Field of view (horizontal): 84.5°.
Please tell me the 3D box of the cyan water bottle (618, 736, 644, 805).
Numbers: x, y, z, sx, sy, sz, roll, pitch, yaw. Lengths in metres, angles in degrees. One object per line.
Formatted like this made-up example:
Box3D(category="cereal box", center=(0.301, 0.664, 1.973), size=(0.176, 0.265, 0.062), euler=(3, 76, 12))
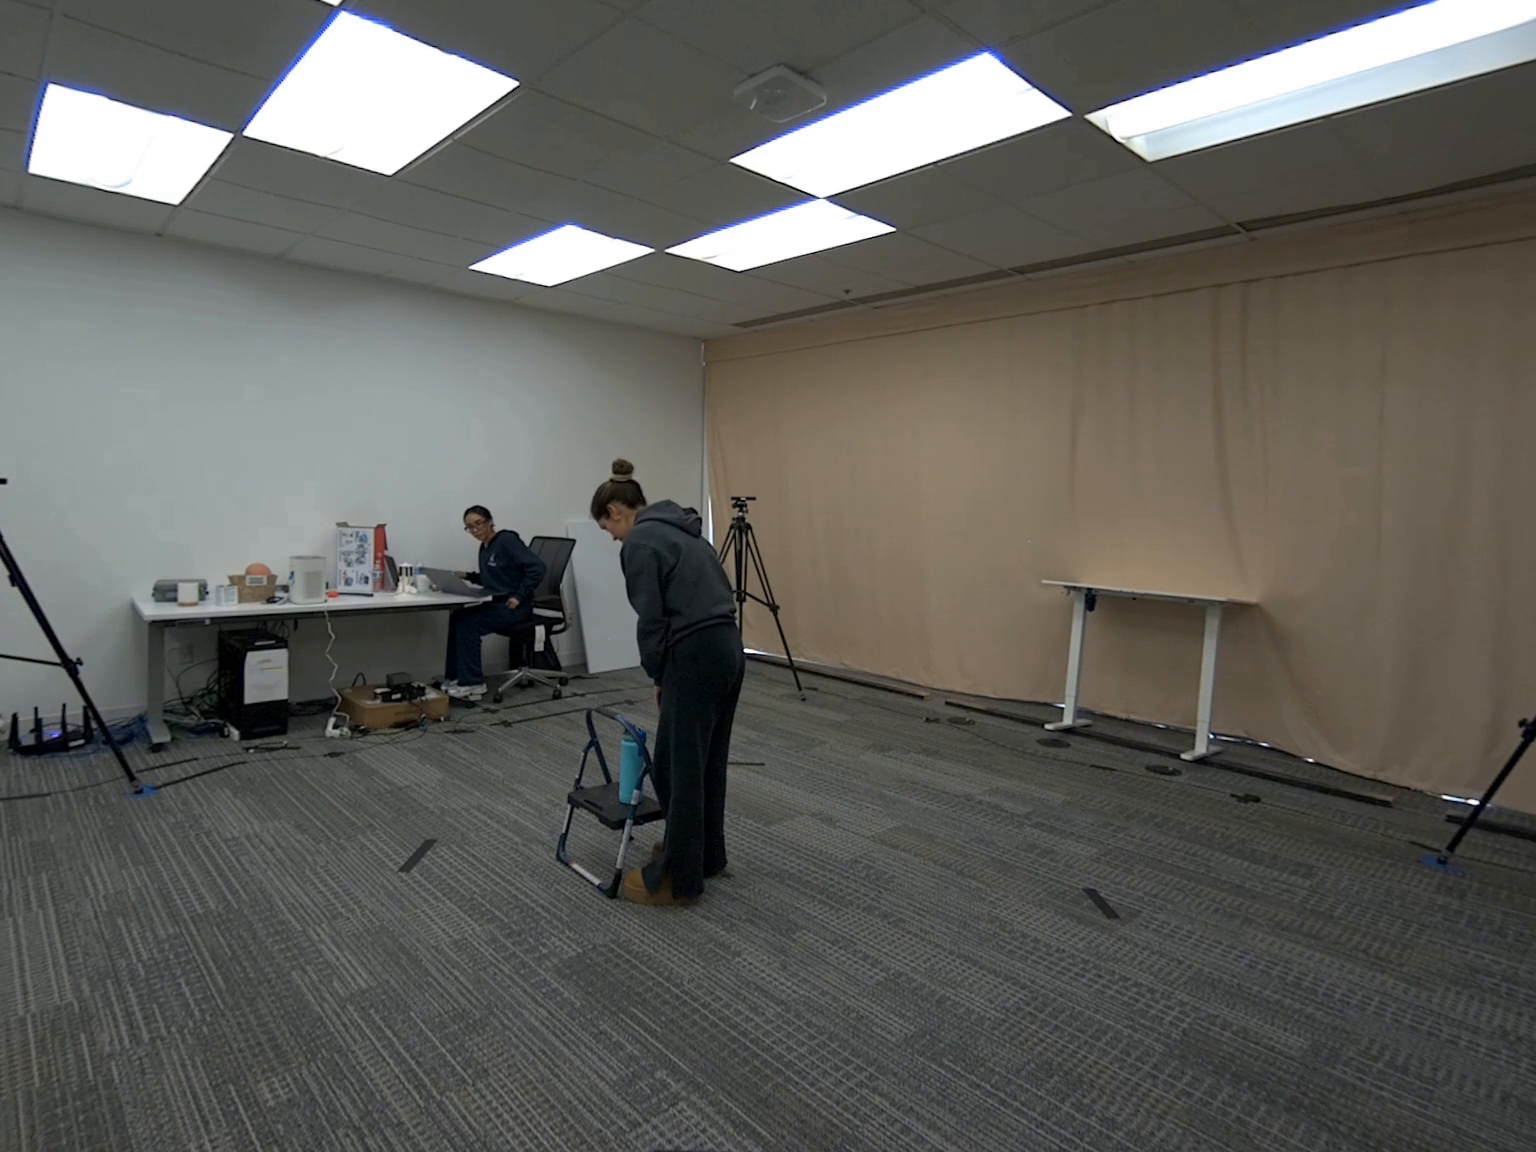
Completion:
Box3D(category="cyan water bottle", center=(-0.503, 0.693, 3.139), size=(0.092, 0.283, 0.092), euler=(3, -1, -1))
